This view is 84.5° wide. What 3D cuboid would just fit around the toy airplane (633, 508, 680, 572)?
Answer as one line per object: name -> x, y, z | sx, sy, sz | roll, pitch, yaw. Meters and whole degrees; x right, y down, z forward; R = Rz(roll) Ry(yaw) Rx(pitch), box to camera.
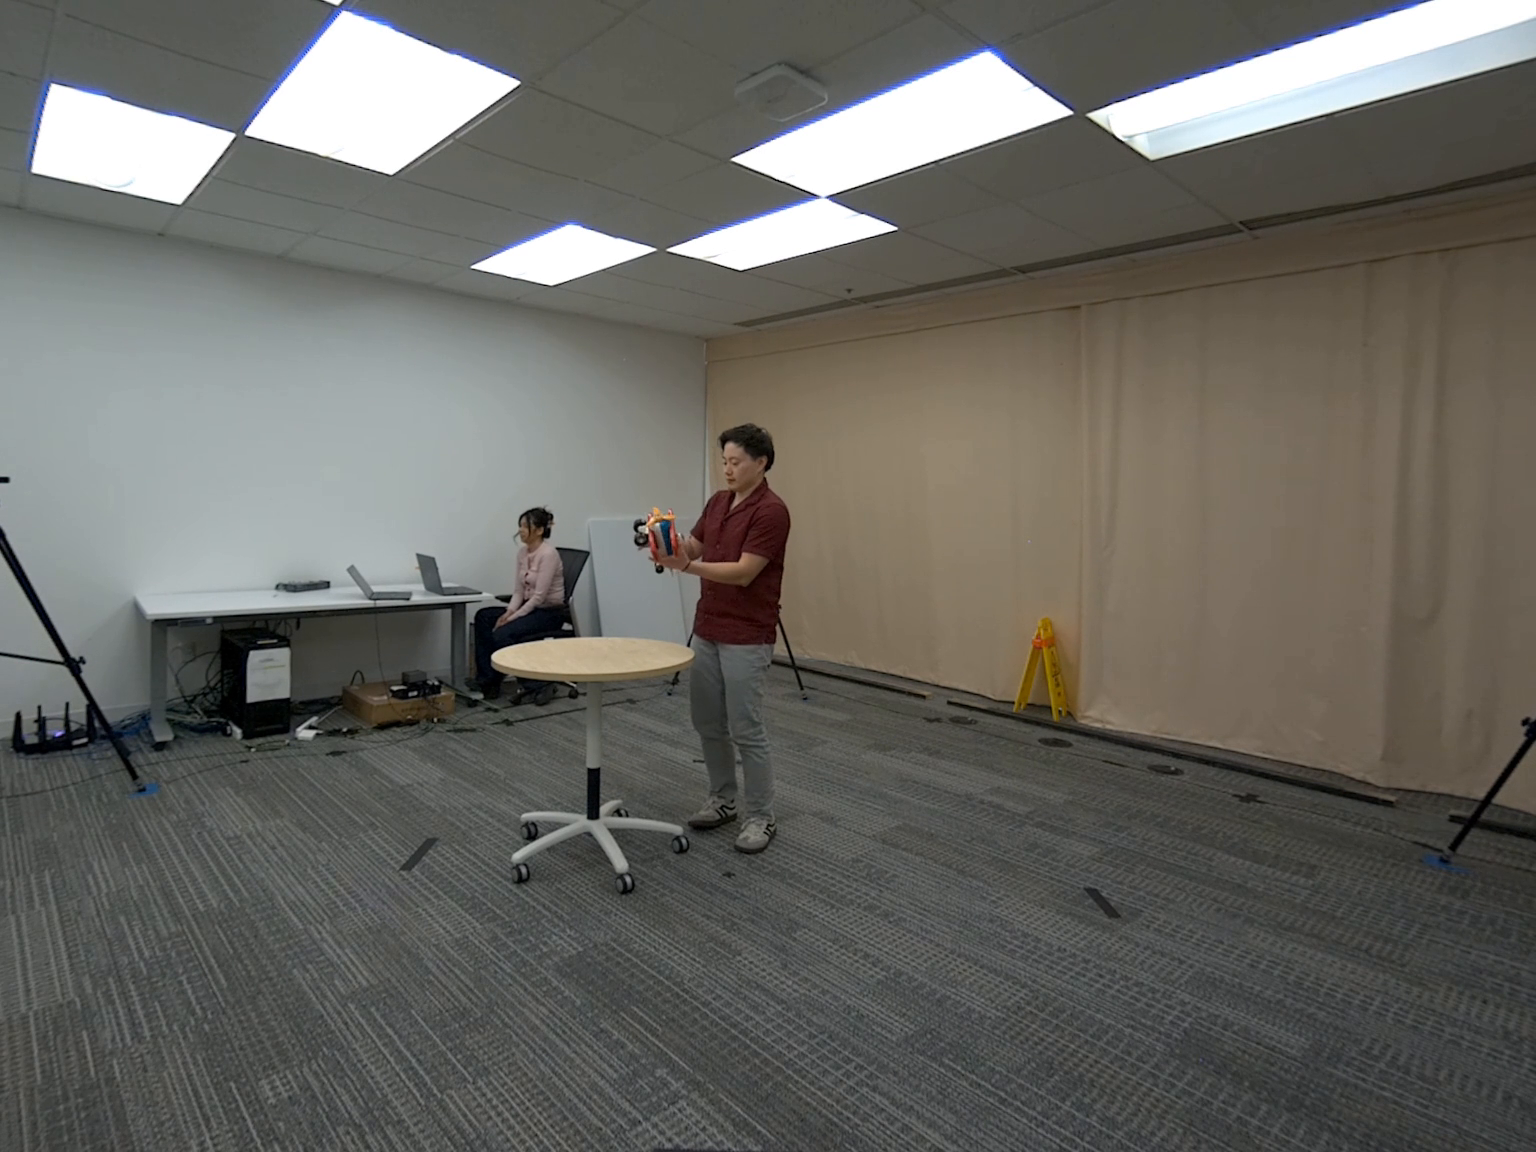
toy airplane -> -0.414, -0.124, 3.229 | 0.157, 0.257, 0.252 | -24, -26, 9
